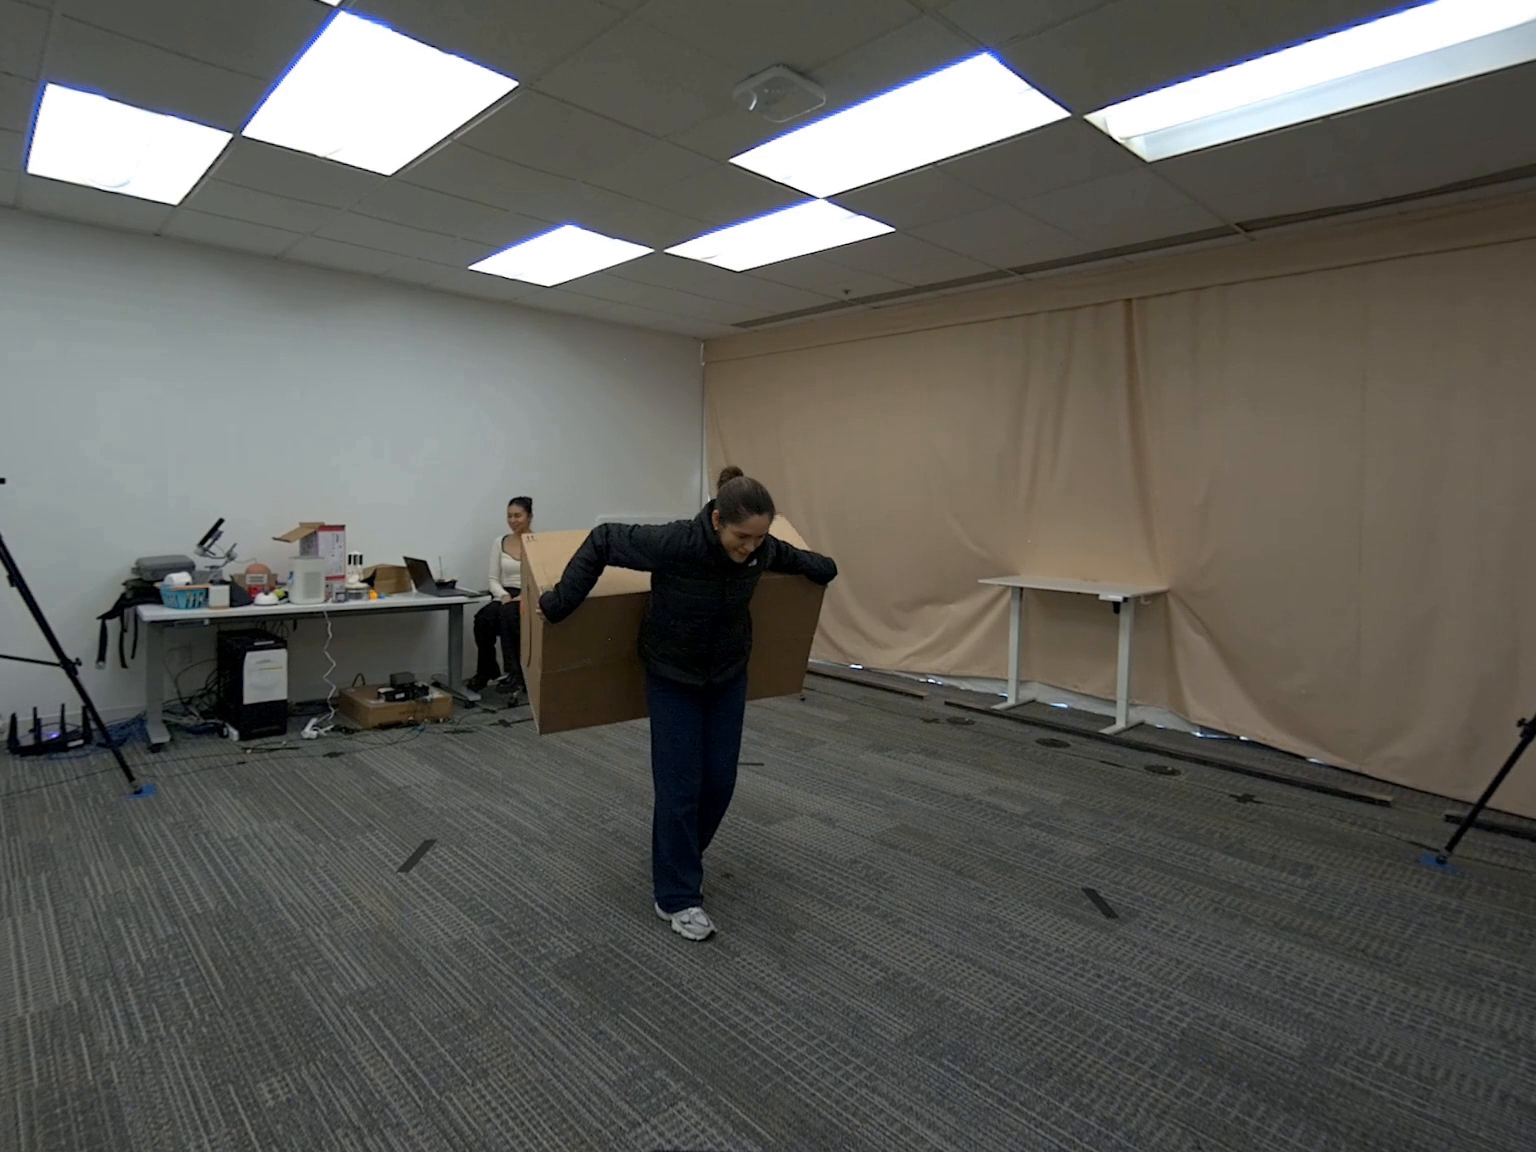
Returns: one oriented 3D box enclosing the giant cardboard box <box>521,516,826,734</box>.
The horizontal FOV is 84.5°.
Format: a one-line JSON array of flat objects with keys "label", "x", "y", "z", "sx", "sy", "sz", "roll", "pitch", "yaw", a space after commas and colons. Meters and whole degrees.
[{"label": "giant cardboard box", "x": -0.371, "y": 0.163, "z": 3.119, "sx": 1.010, "sy": 0.568, "sz": 0.440, "roll": -6, "pitch": 34, "yaw": -23}]
